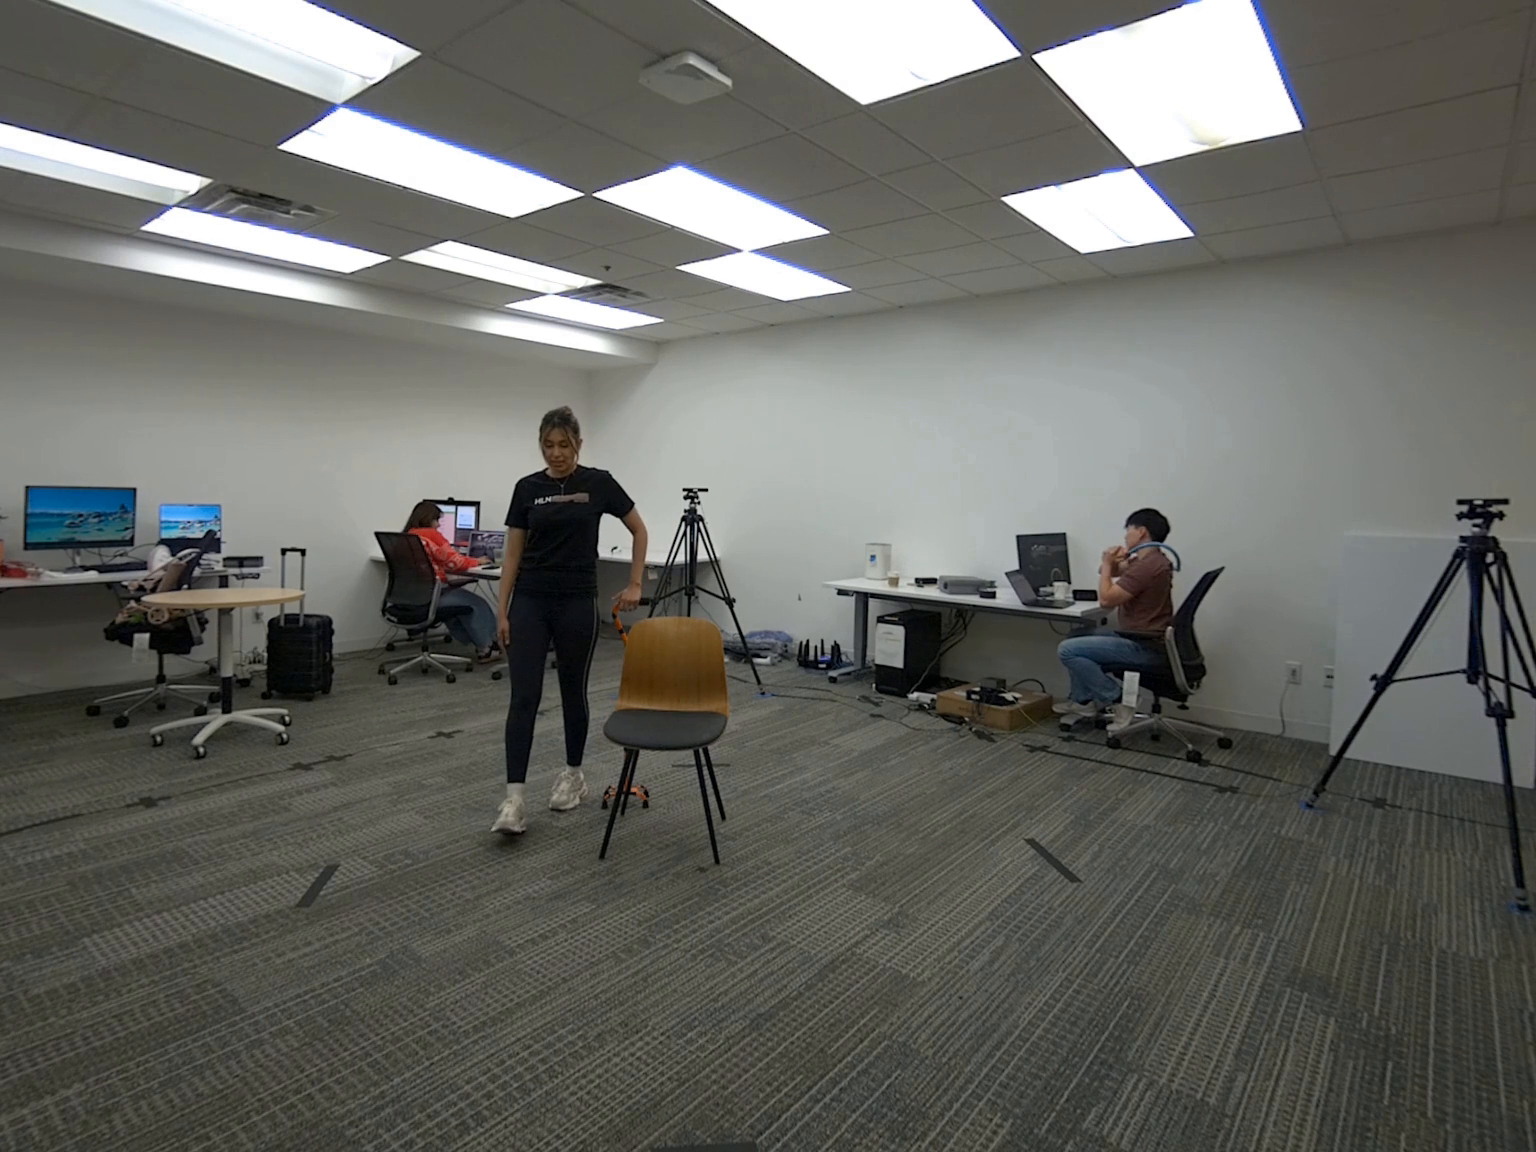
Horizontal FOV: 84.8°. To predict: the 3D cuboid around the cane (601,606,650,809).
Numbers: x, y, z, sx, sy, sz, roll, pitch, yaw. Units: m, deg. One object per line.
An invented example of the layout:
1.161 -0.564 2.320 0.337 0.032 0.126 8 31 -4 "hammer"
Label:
-0.631 0.546 3.731 0.206 0.904 0.153 2 4 -4 "cane"
